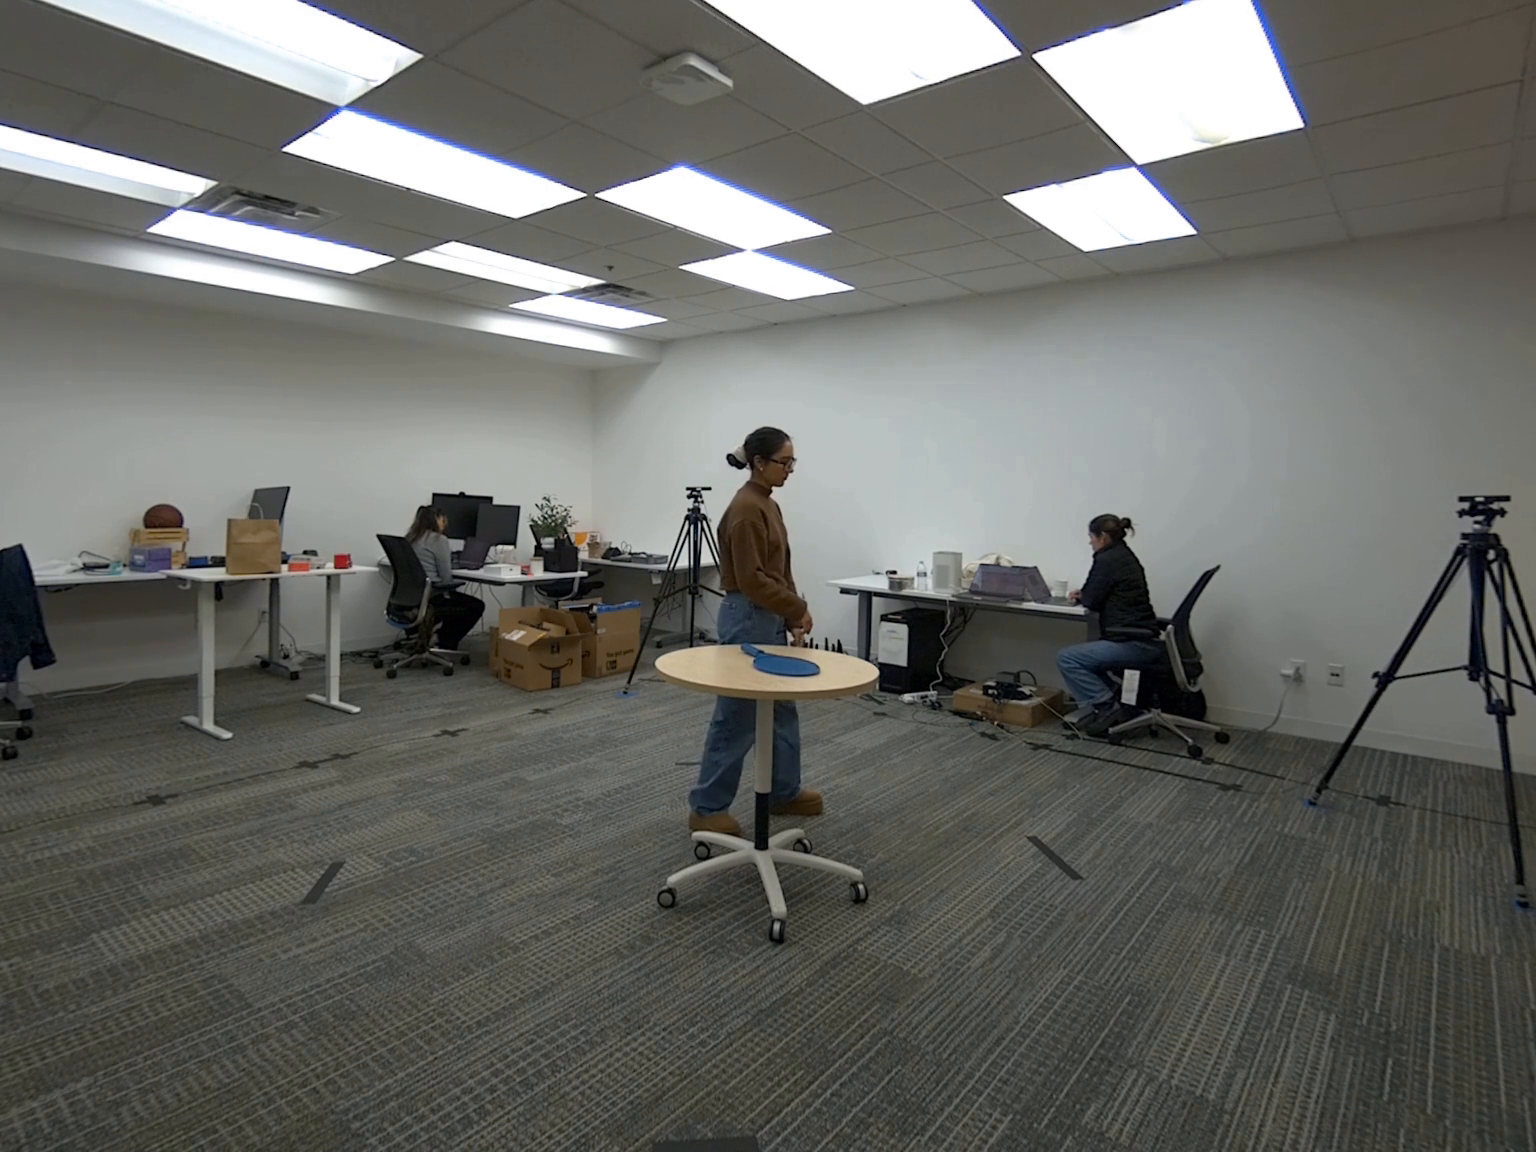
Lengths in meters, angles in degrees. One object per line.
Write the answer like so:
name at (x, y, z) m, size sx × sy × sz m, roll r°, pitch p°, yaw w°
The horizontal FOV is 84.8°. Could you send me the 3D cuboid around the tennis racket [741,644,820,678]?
tennis racket at (0.027, 0.293, 2.959) m, size 0.209 × 0.031 × 0.446 m, roll -3°, pitch 8°, yaw -26°
